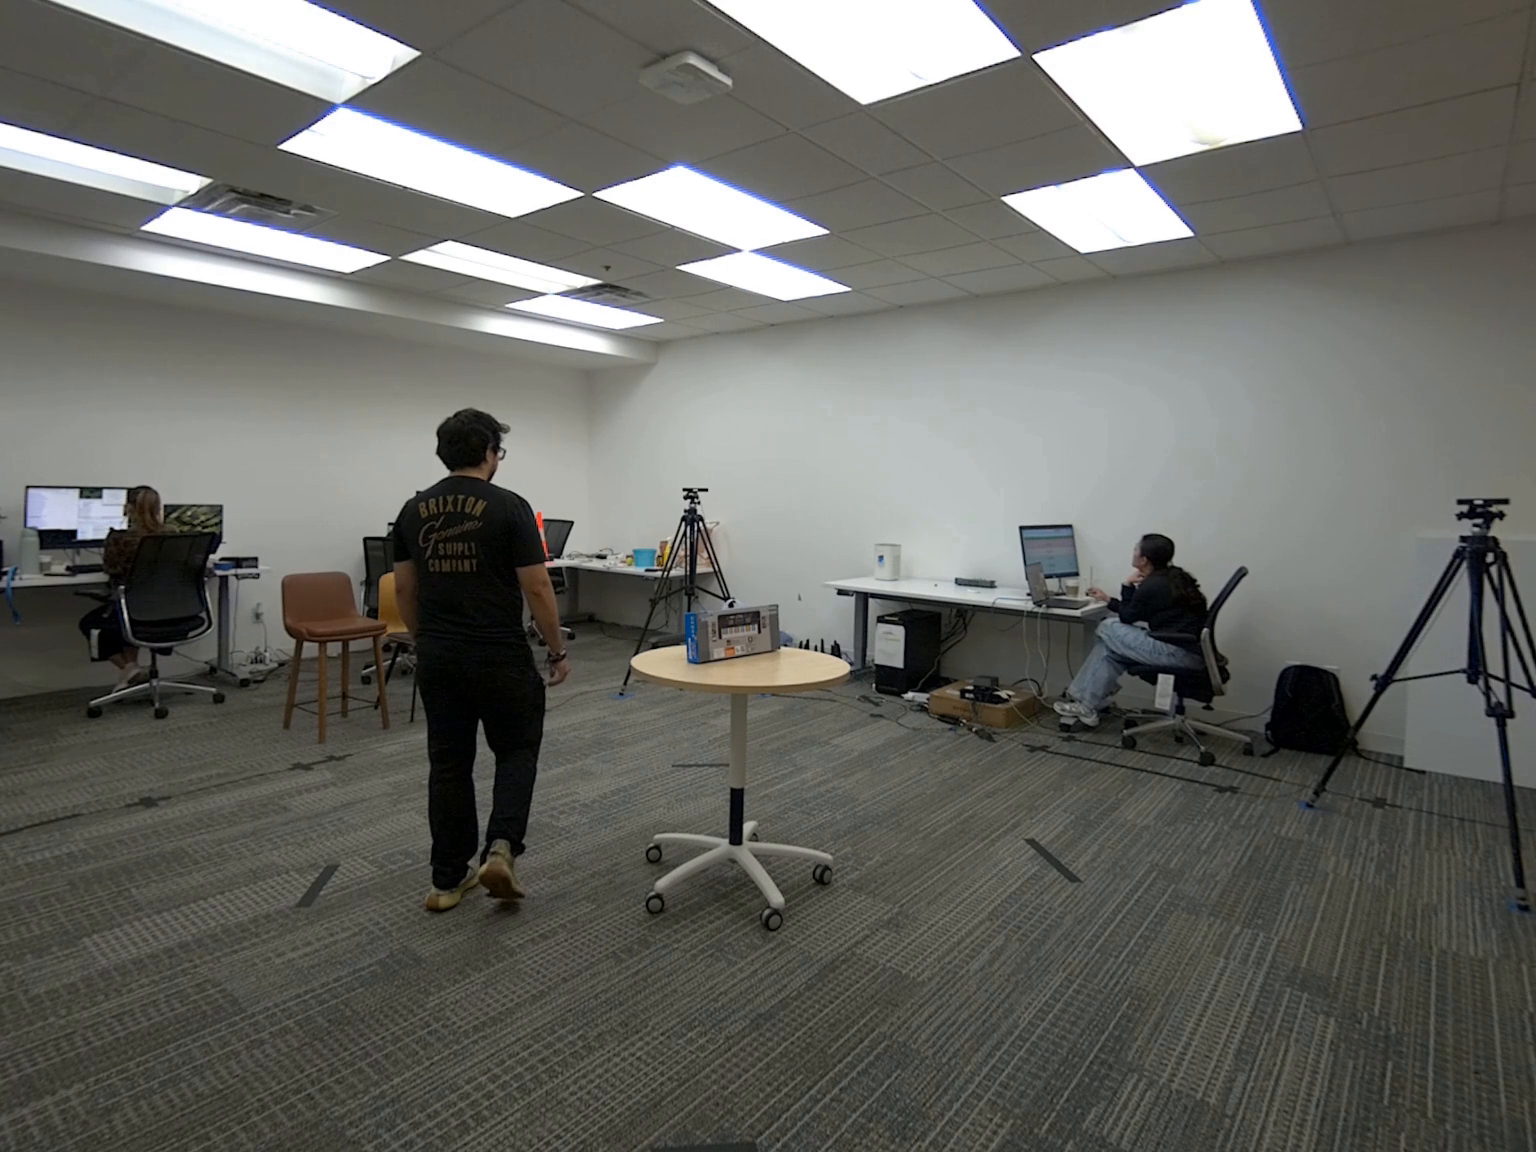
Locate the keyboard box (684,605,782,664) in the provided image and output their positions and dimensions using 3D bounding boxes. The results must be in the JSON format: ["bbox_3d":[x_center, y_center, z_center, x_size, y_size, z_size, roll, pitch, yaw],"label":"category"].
[{"bbox_3d":[-0.125,0.206,3.091,0.061,0.176,0.424,-5,0,42],"label":"keyboard box"}]
